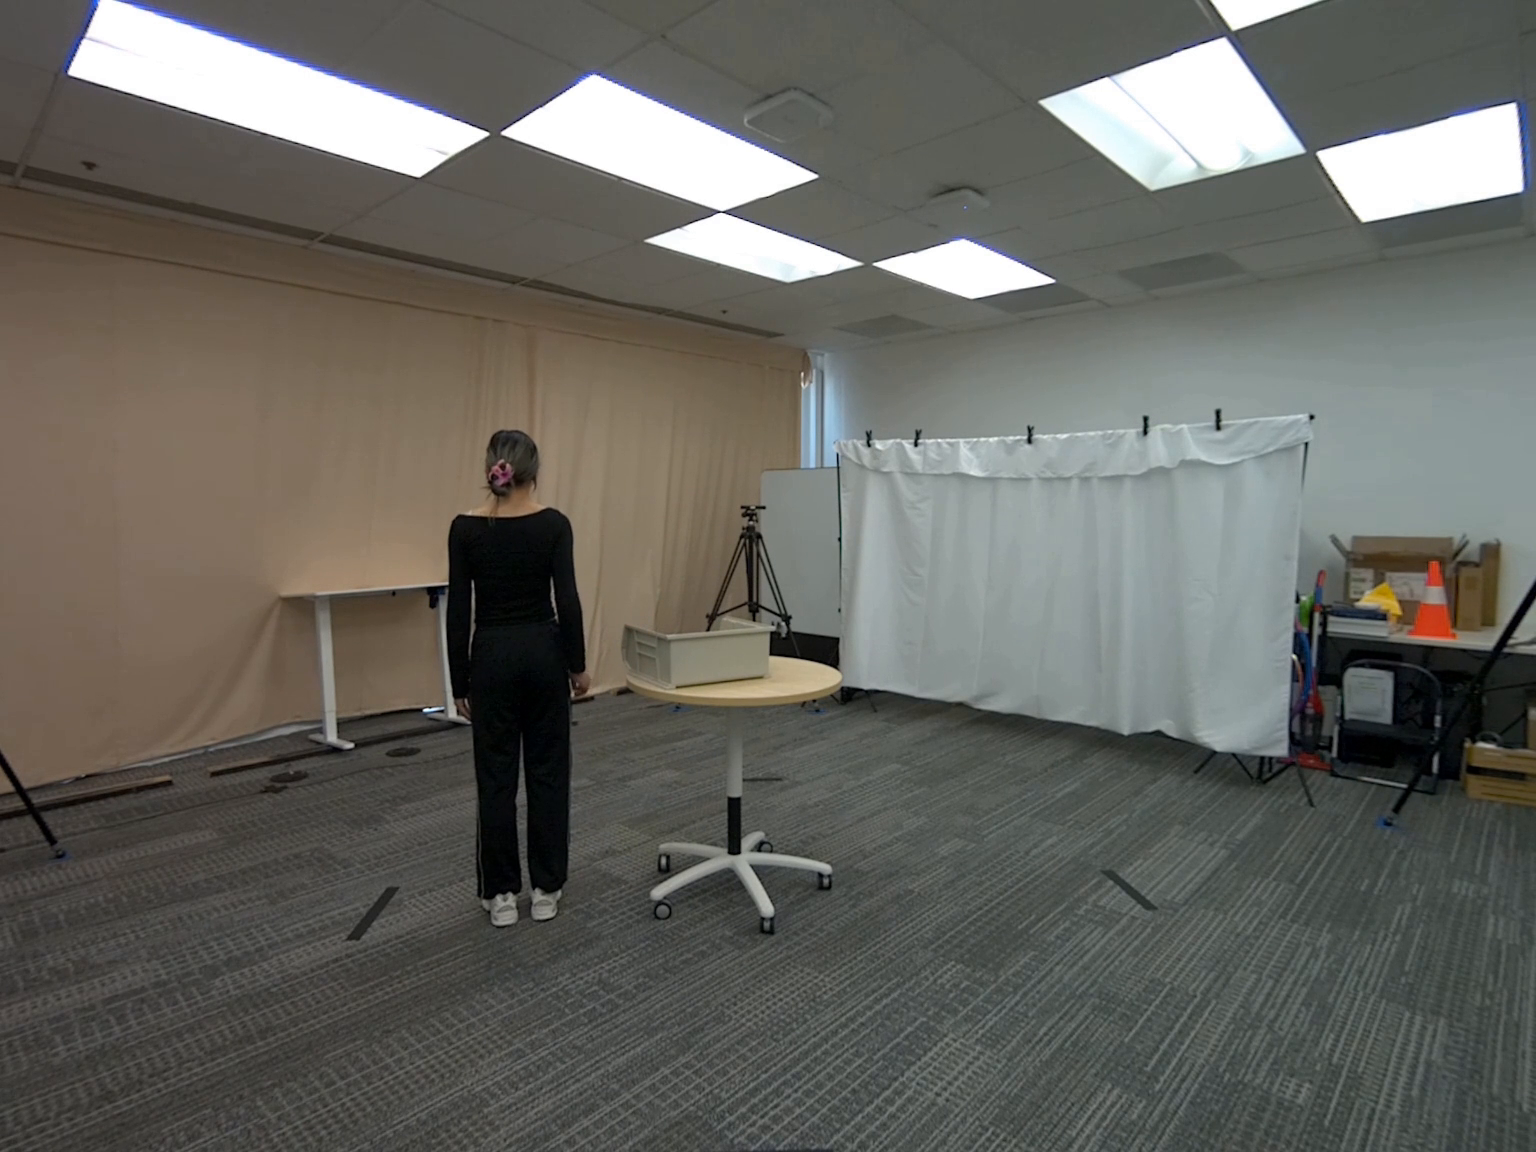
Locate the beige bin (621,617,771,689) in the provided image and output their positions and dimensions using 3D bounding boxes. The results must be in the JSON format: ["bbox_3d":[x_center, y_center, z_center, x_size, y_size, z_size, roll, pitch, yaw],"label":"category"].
[{"bbox_3d":[-0.257,0.262,2.983,0.411,0.188,0.389,-2,6,-32],"label":"beige bin"}]
